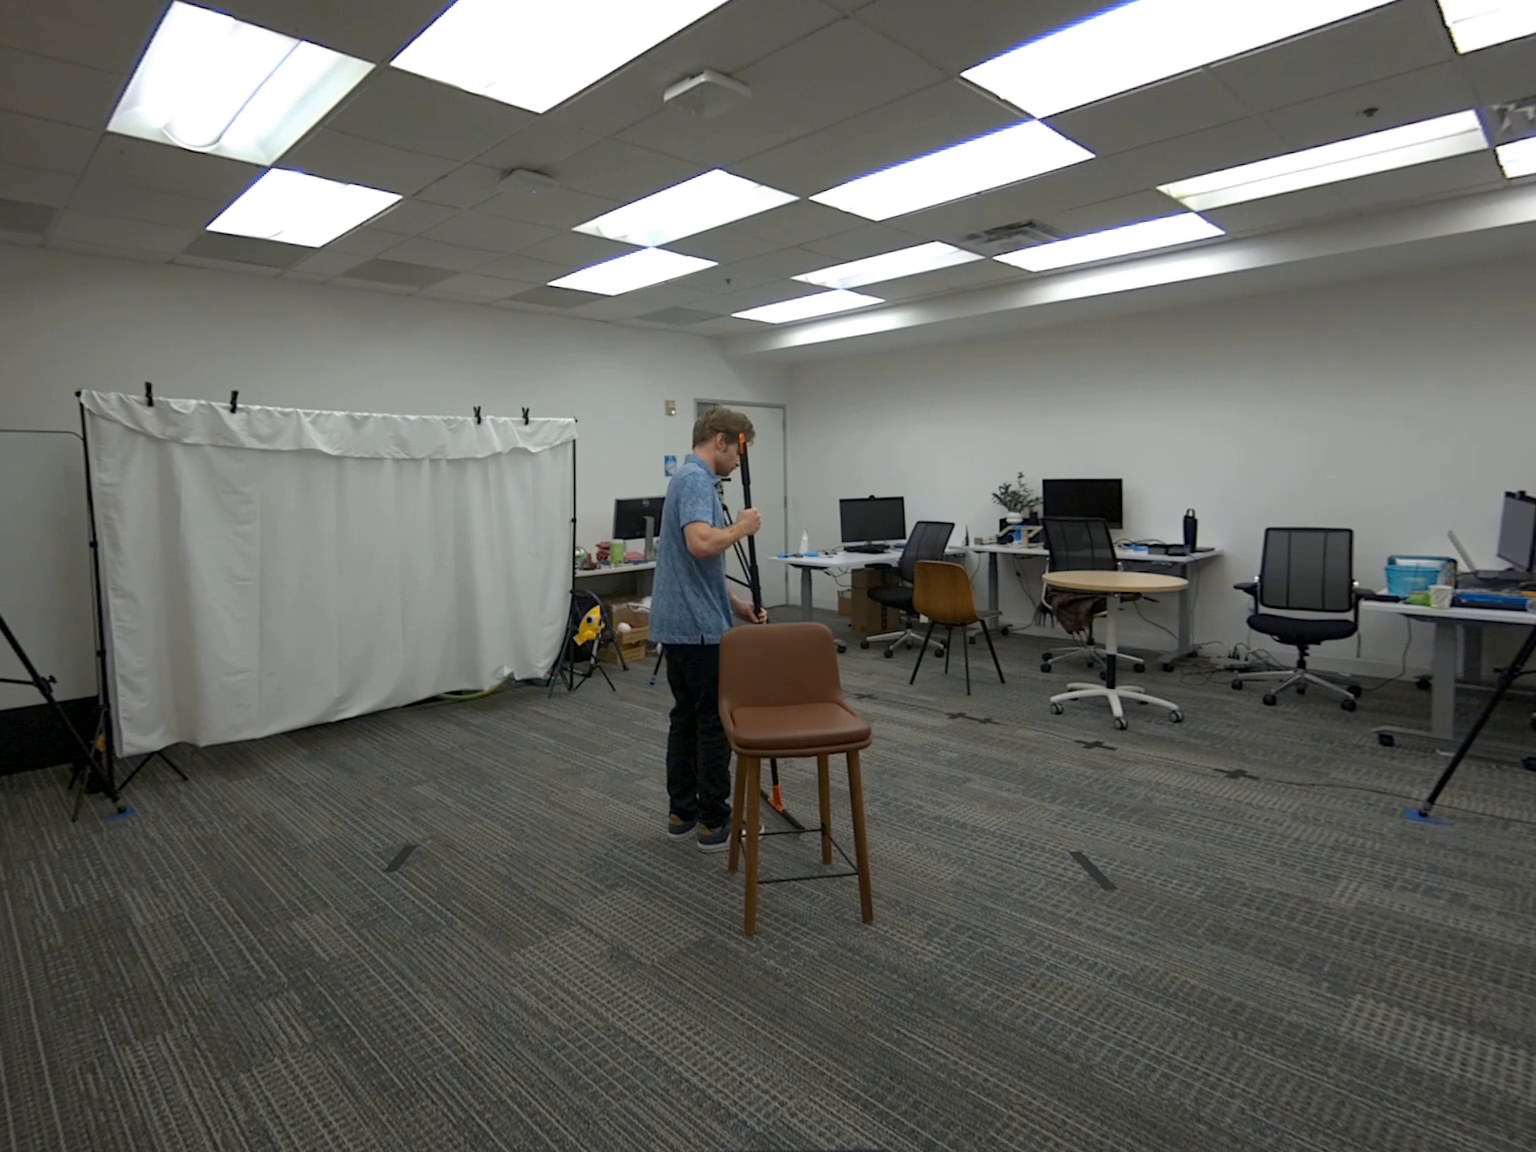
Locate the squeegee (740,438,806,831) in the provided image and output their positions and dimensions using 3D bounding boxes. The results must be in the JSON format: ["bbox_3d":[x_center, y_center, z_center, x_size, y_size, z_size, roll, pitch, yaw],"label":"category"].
[{"bbox_3d":[0.001,0.203,3.400,0.052,1.533,0.448,-5,4,-26],"label":"squeegee"}]
